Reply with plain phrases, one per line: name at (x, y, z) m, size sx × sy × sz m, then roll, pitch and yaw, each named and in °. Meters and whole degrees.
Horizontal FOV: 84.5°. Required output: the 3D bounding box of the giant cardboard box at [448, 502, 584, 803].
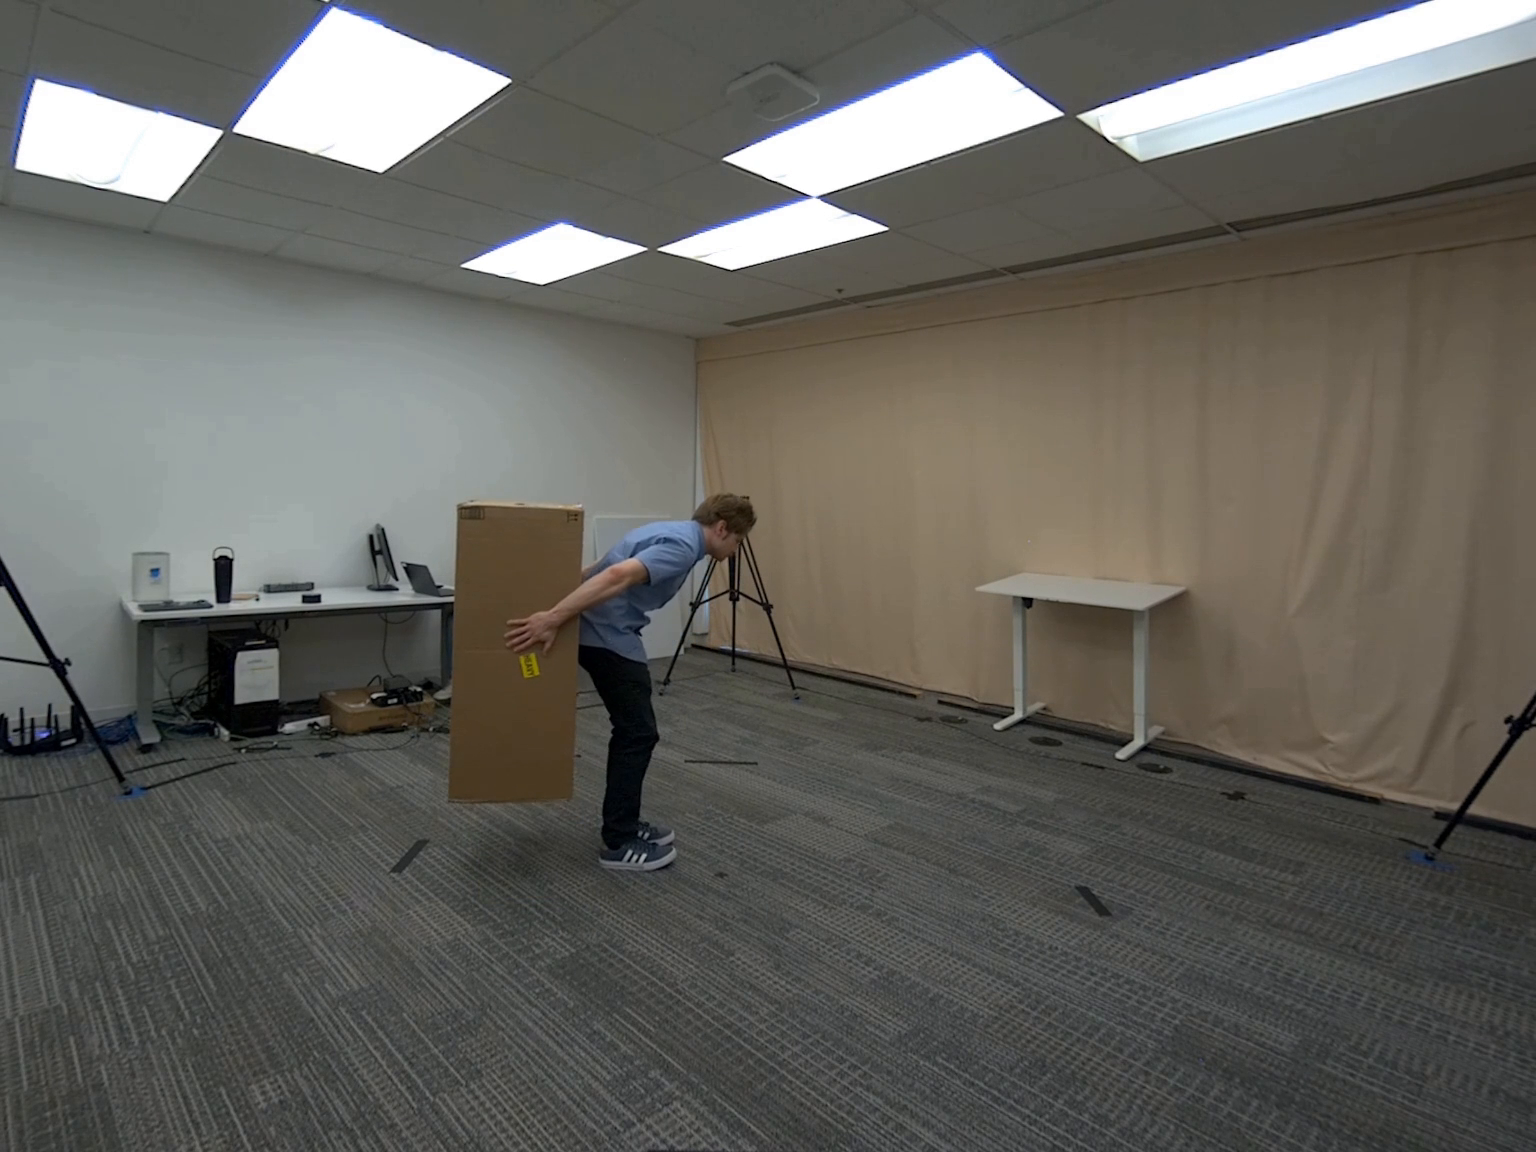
giant cardboard box at (-0.940, 0.256, 3.151) m, size 0.442 × 1.024 × 0.592 m, roll 2°, pitch 4°, yaw -14°
